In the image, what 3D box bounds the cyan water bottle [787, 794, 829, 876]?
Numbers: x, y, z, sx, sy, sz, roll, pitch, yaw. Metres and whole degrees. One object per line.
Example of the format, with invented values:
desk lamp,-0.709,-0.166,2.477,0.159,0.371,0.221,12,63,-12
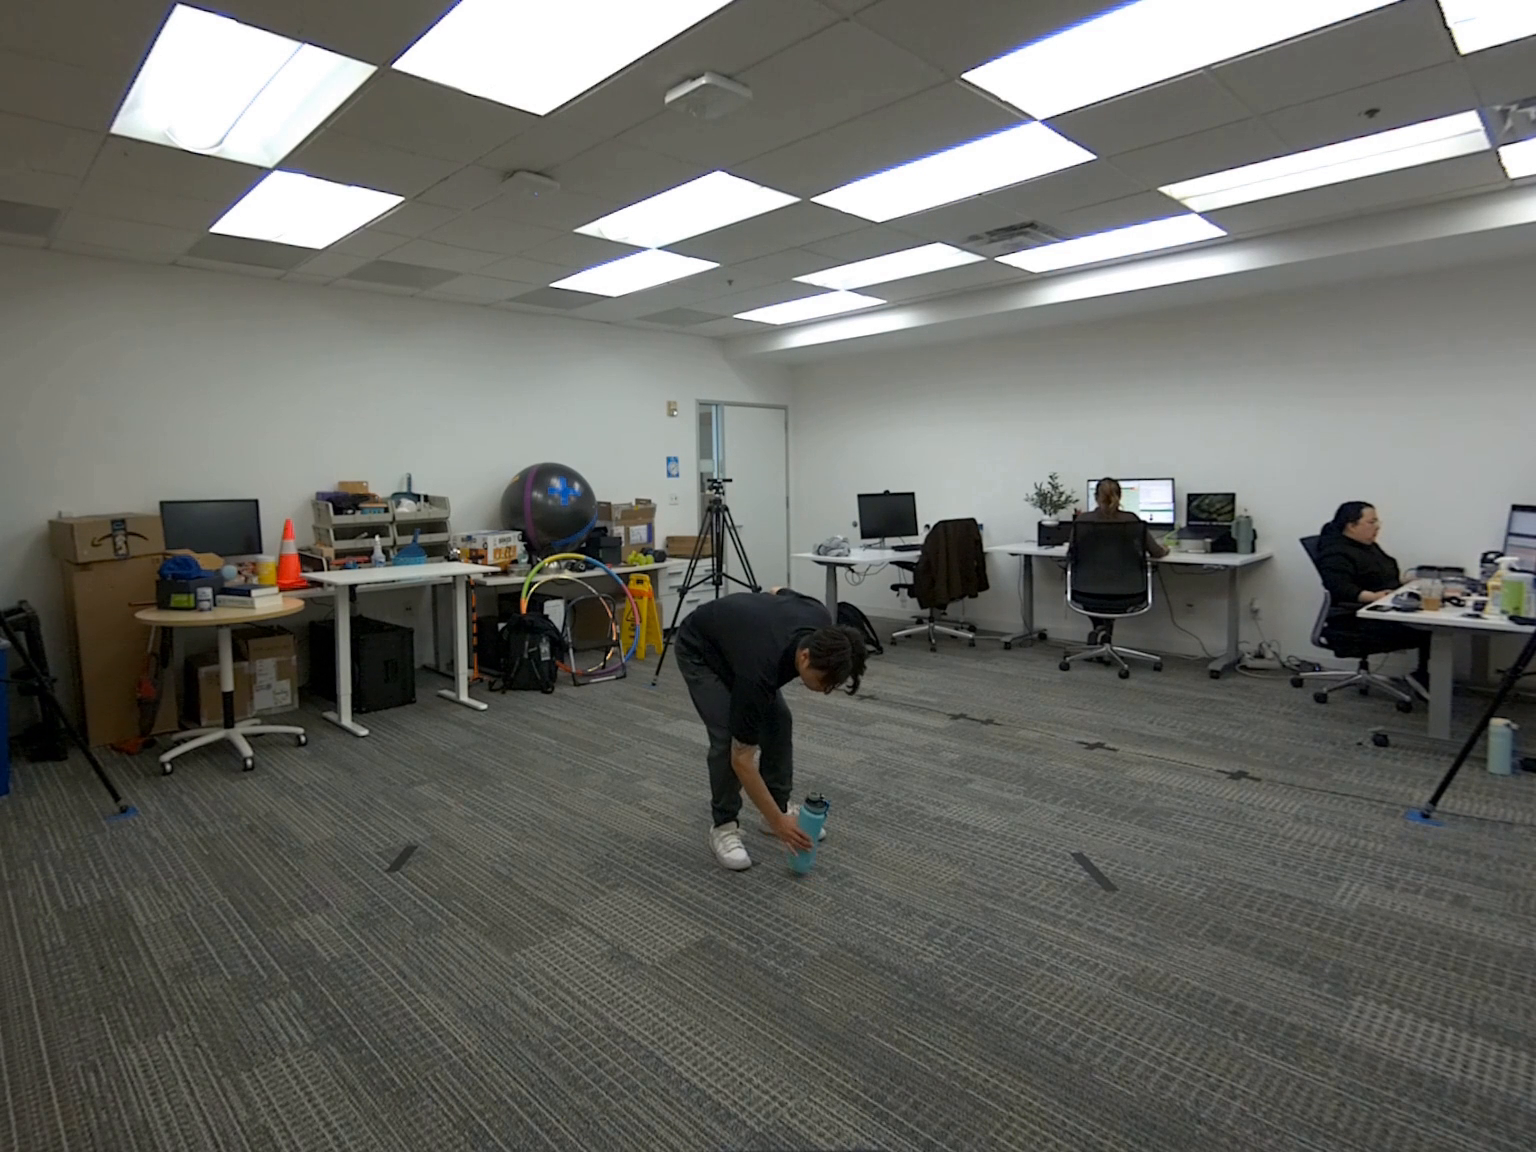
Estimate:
cyan water bottle,0.142,0.882,2.990,0.092,0.281,0.093,13,14,-5
